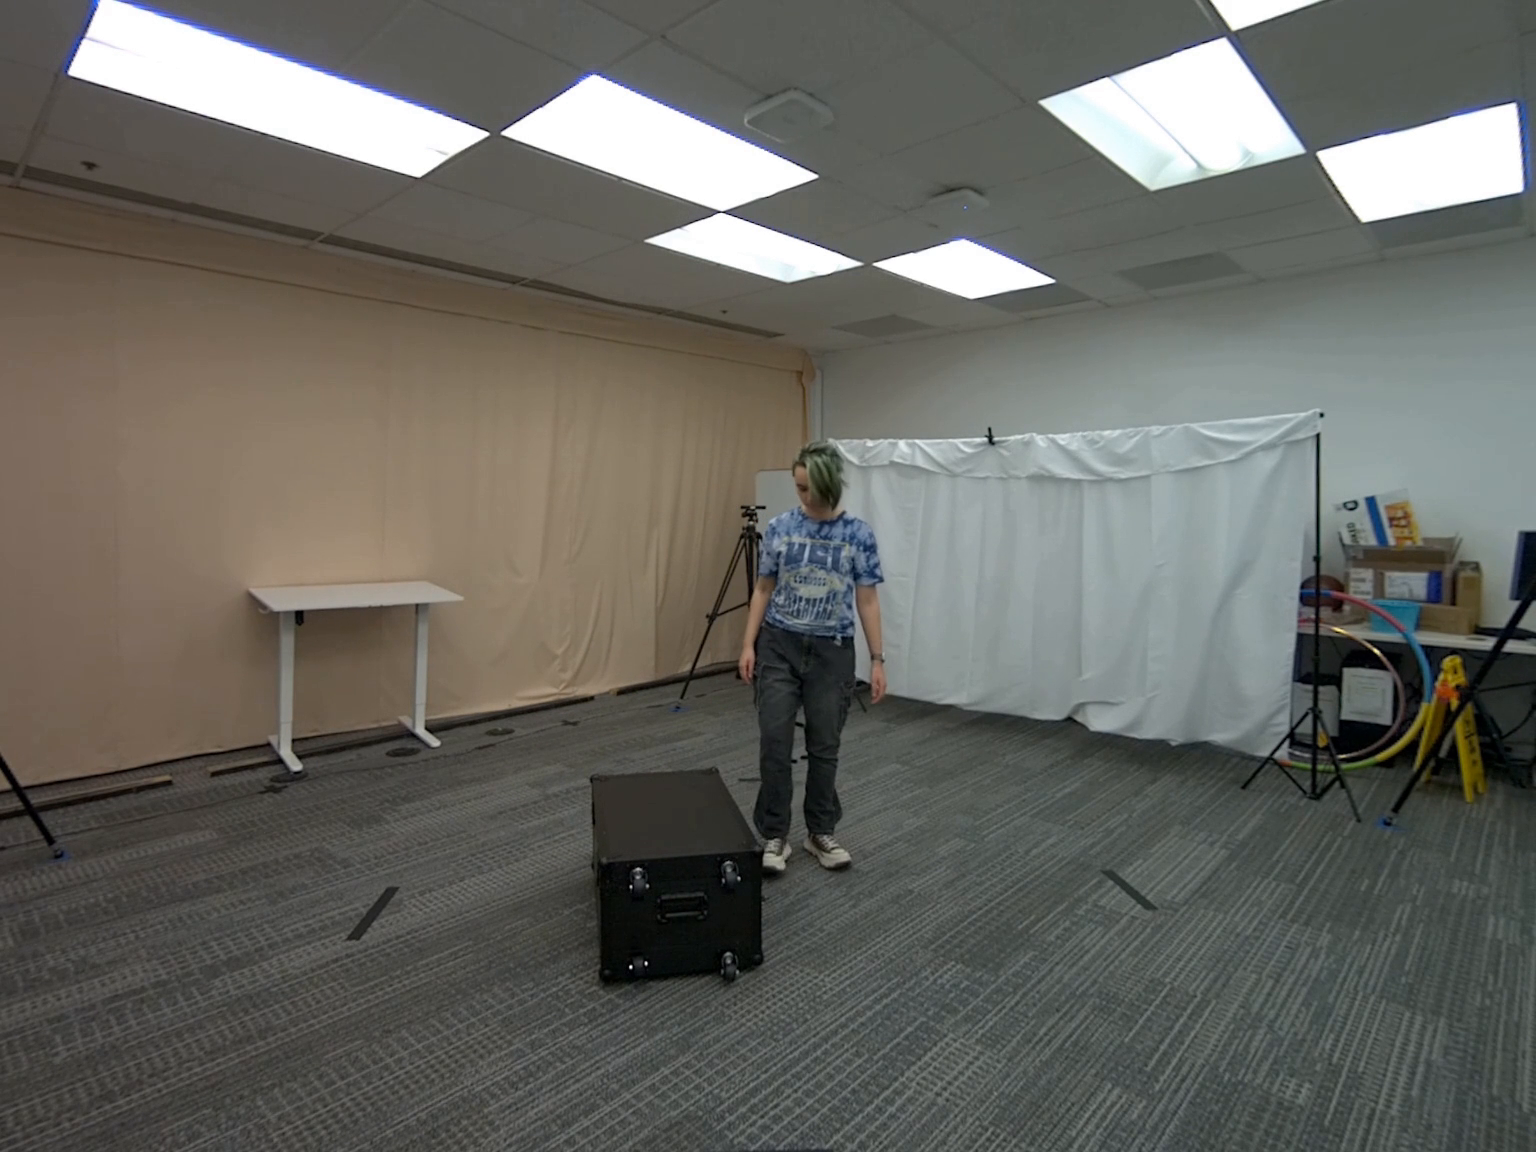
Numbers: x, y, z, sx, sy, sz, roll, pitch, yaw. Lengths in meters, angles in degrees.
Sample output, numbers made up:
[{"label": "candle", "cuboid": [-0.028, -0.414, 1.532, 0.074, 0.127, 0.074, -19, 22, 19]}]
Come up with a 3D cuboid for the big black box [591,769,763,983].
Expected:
[{"label": "big black box", "cuboid": [-0.345, 0.962, 2.870, 0.515, 0.395, 0.874, -1, 5, -12]}]
